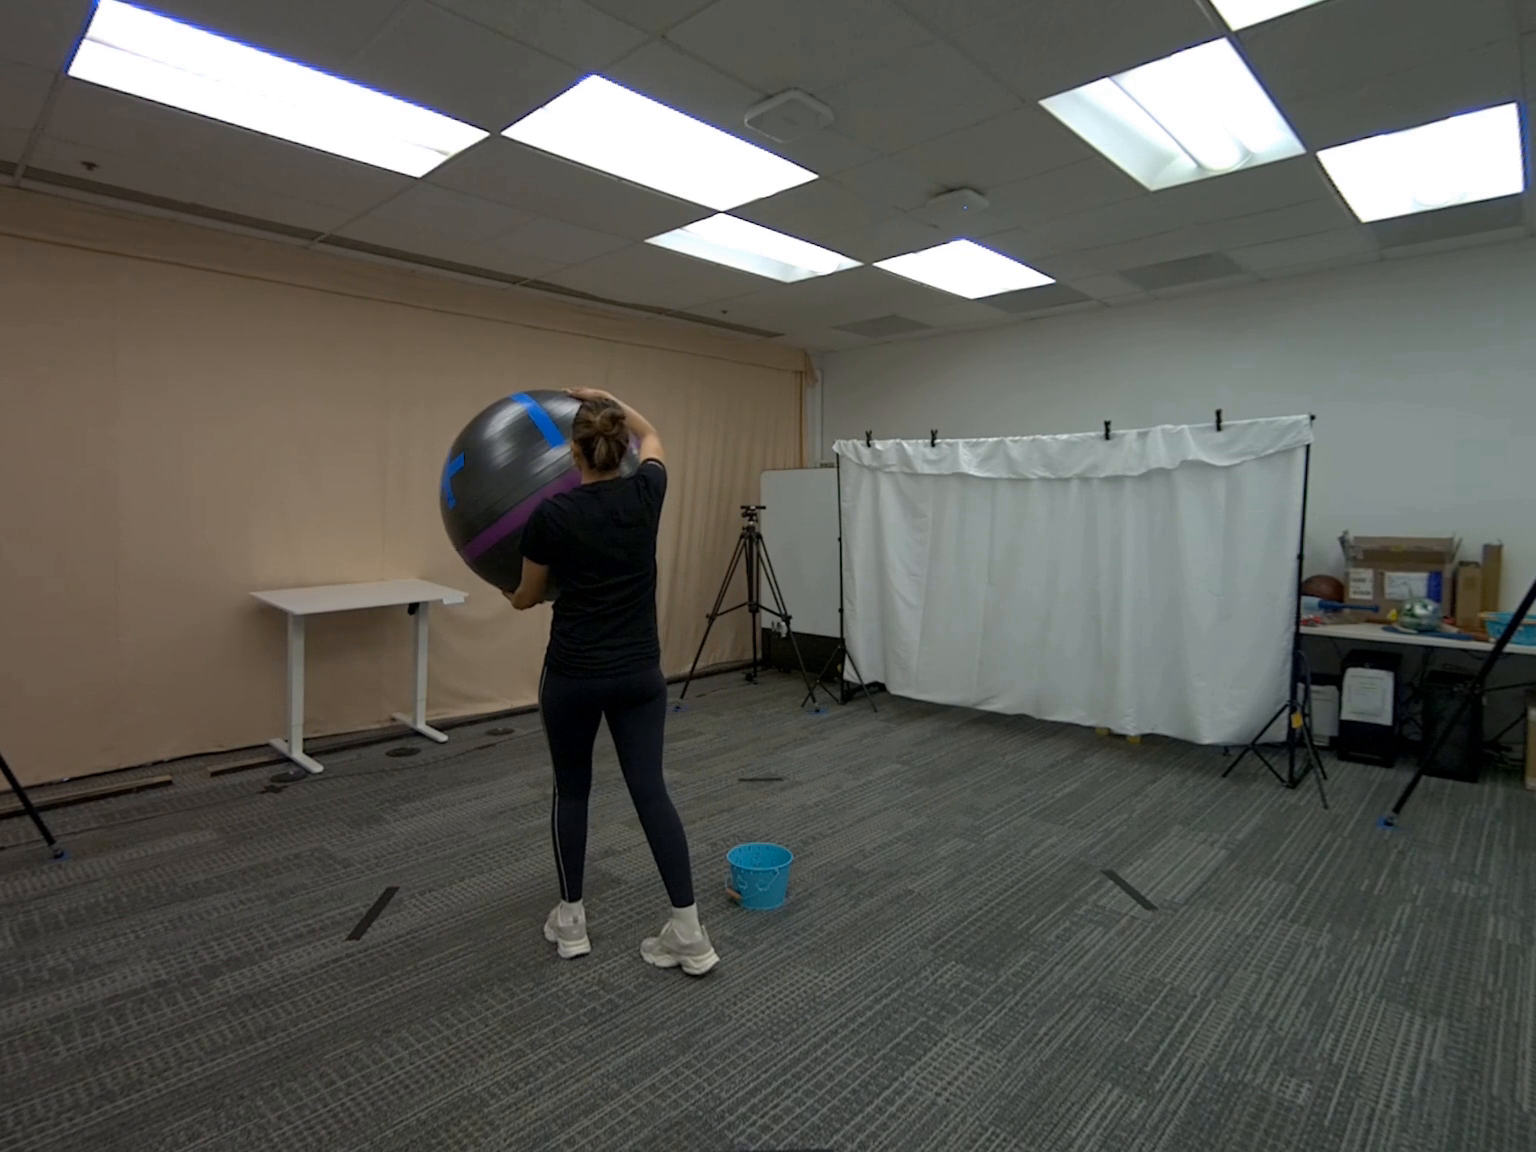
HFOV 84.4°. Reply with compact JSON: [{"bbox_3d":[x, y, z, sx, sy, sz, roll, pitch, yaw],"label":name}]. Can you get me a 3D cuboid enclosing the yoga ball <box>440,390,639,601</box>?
[{"bbox_3d":[-0.775,-0.287,3.029,0.757,0.756,0.761,0,4,-2],"label":"yoga ball"}]
